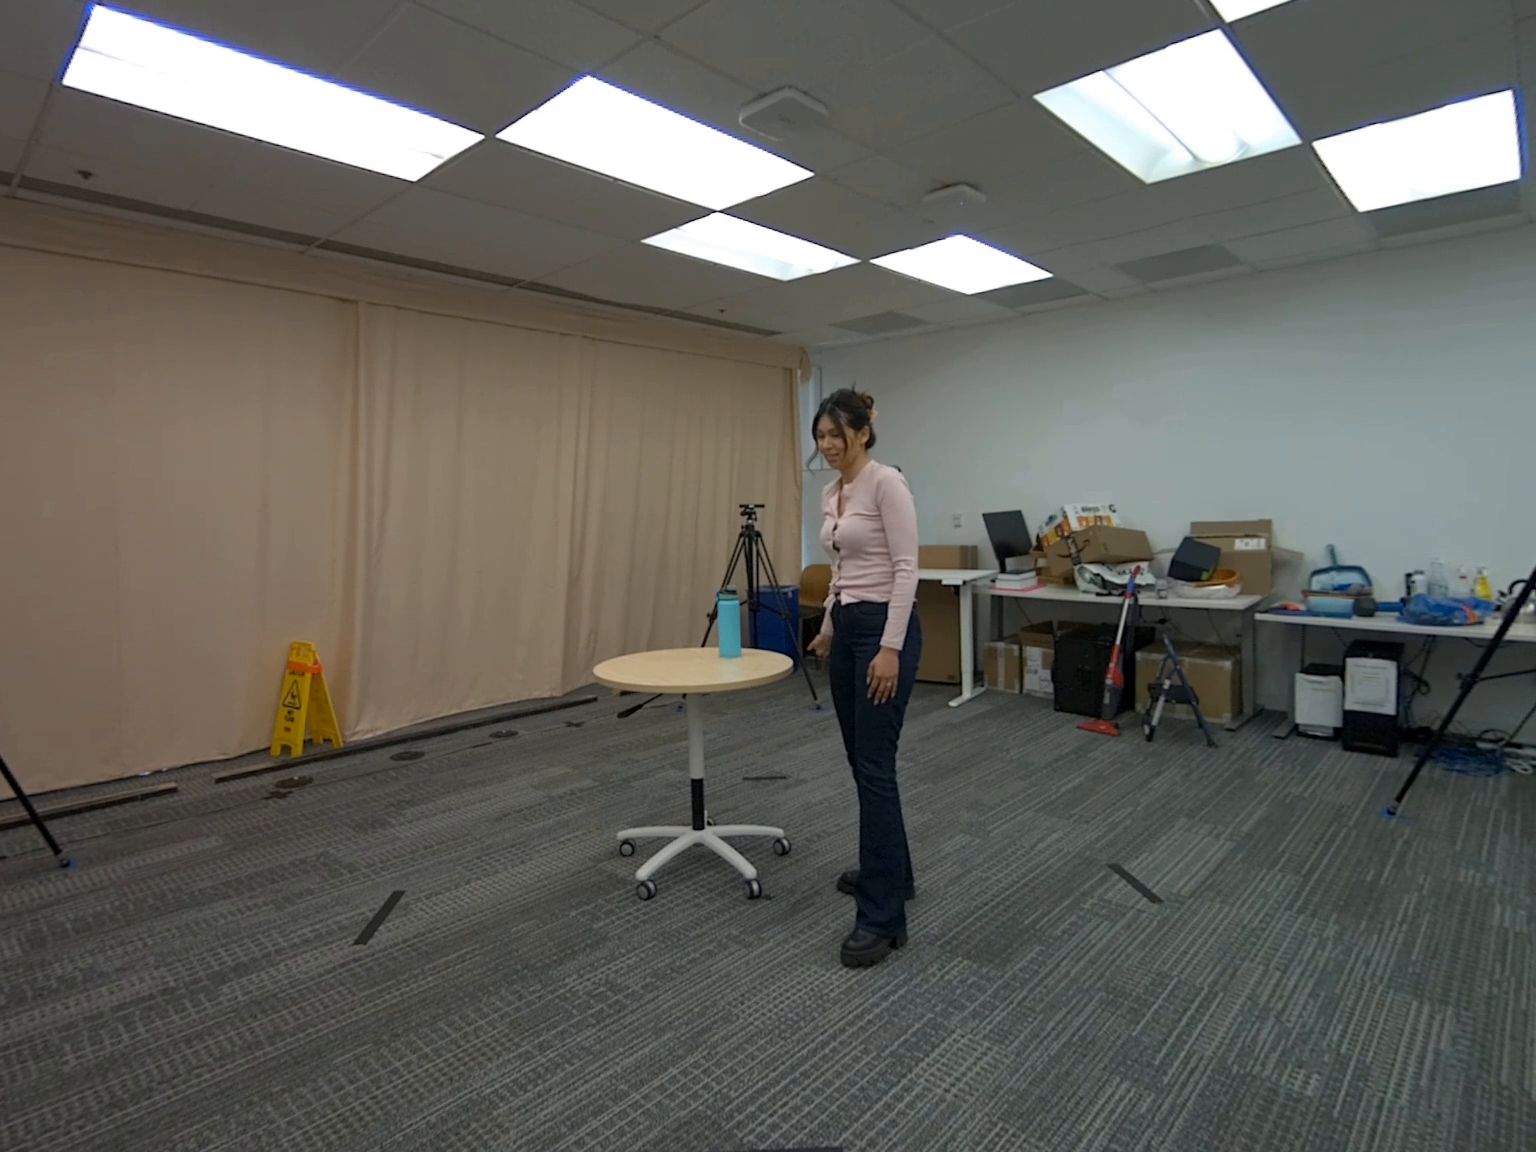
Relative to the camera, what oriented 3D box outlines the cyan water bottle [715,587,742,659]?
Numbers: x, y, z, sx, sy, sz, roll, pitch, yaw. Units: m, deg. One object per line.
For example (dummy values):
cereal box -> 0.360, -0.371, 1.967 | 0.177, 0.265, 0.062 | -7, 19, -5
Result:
cyan water bottle -> -0.160, 0.183, 3.392 | 0.092, 0.283, 0.092 | -3, 2, -2
